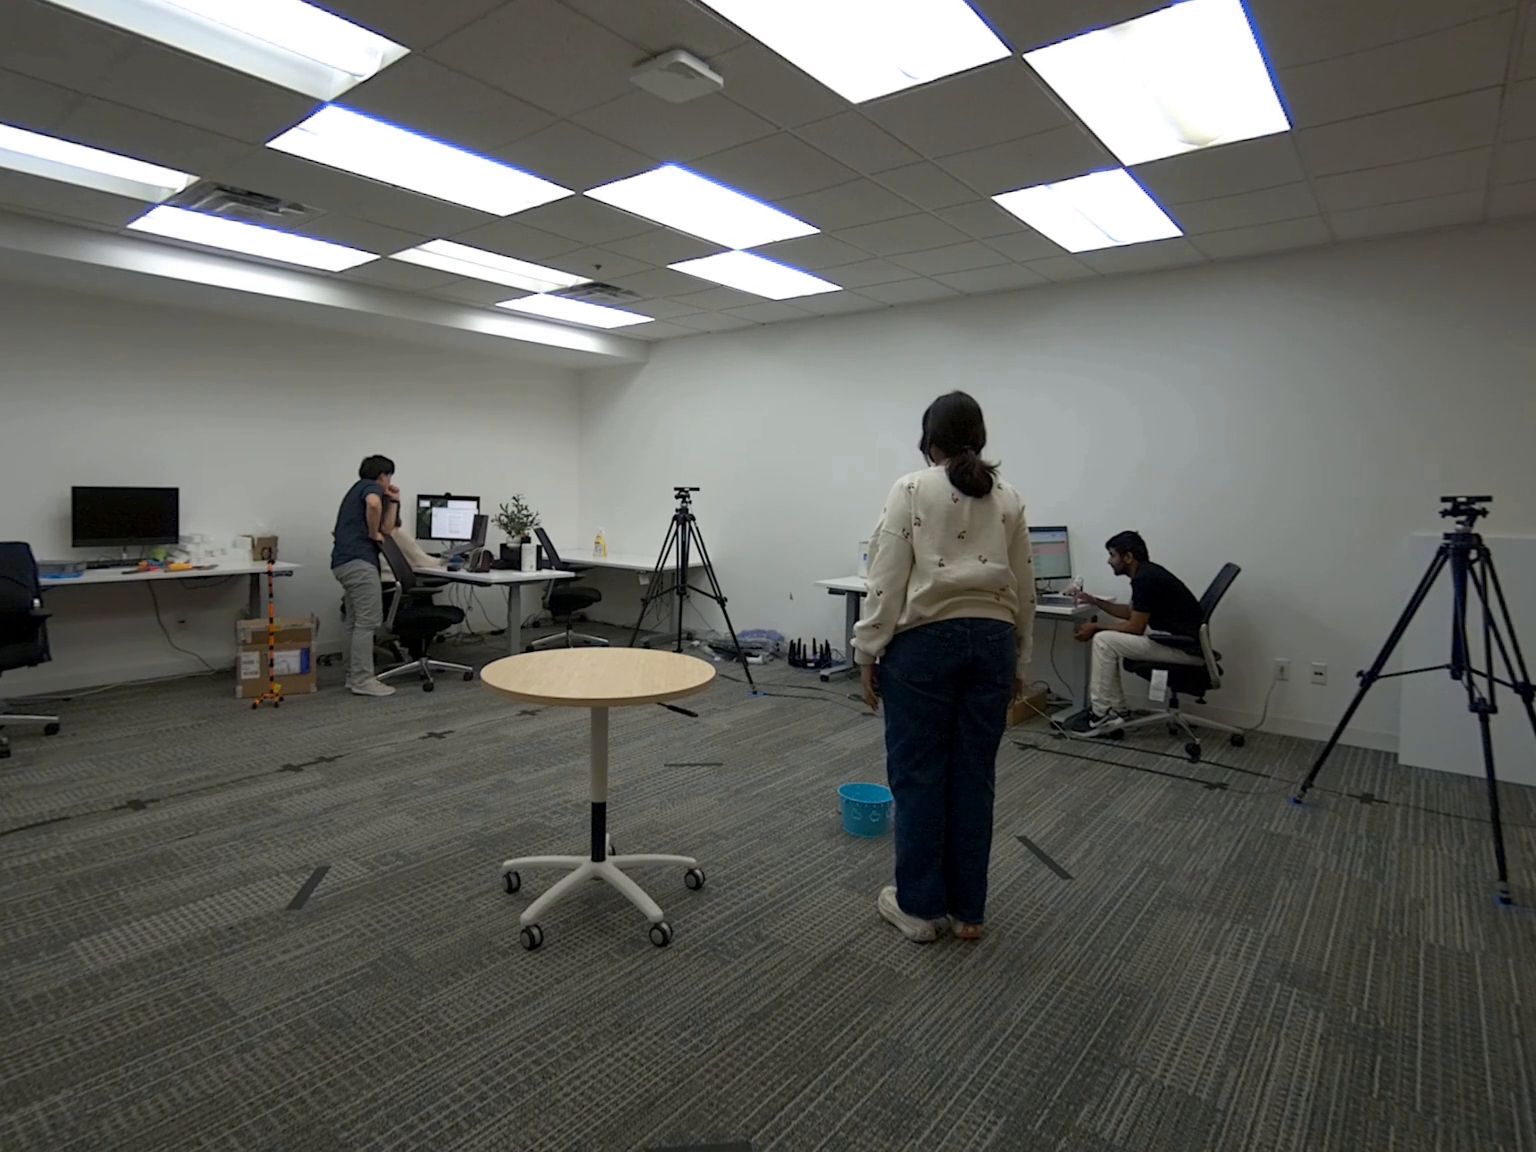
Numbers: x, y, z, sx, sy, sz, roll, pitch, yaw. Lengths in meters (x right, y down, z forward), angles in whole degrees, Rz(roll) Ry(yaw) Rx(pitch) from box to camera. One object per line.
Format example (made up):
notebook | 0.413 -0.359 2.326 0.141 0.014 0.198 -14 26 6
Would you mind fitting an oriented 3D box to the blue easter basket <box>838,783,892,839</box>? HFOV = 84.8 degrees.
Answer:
blue easter basket | 0.398 0.961 3.513 0.243 0.155 0.245 0 5 -2
